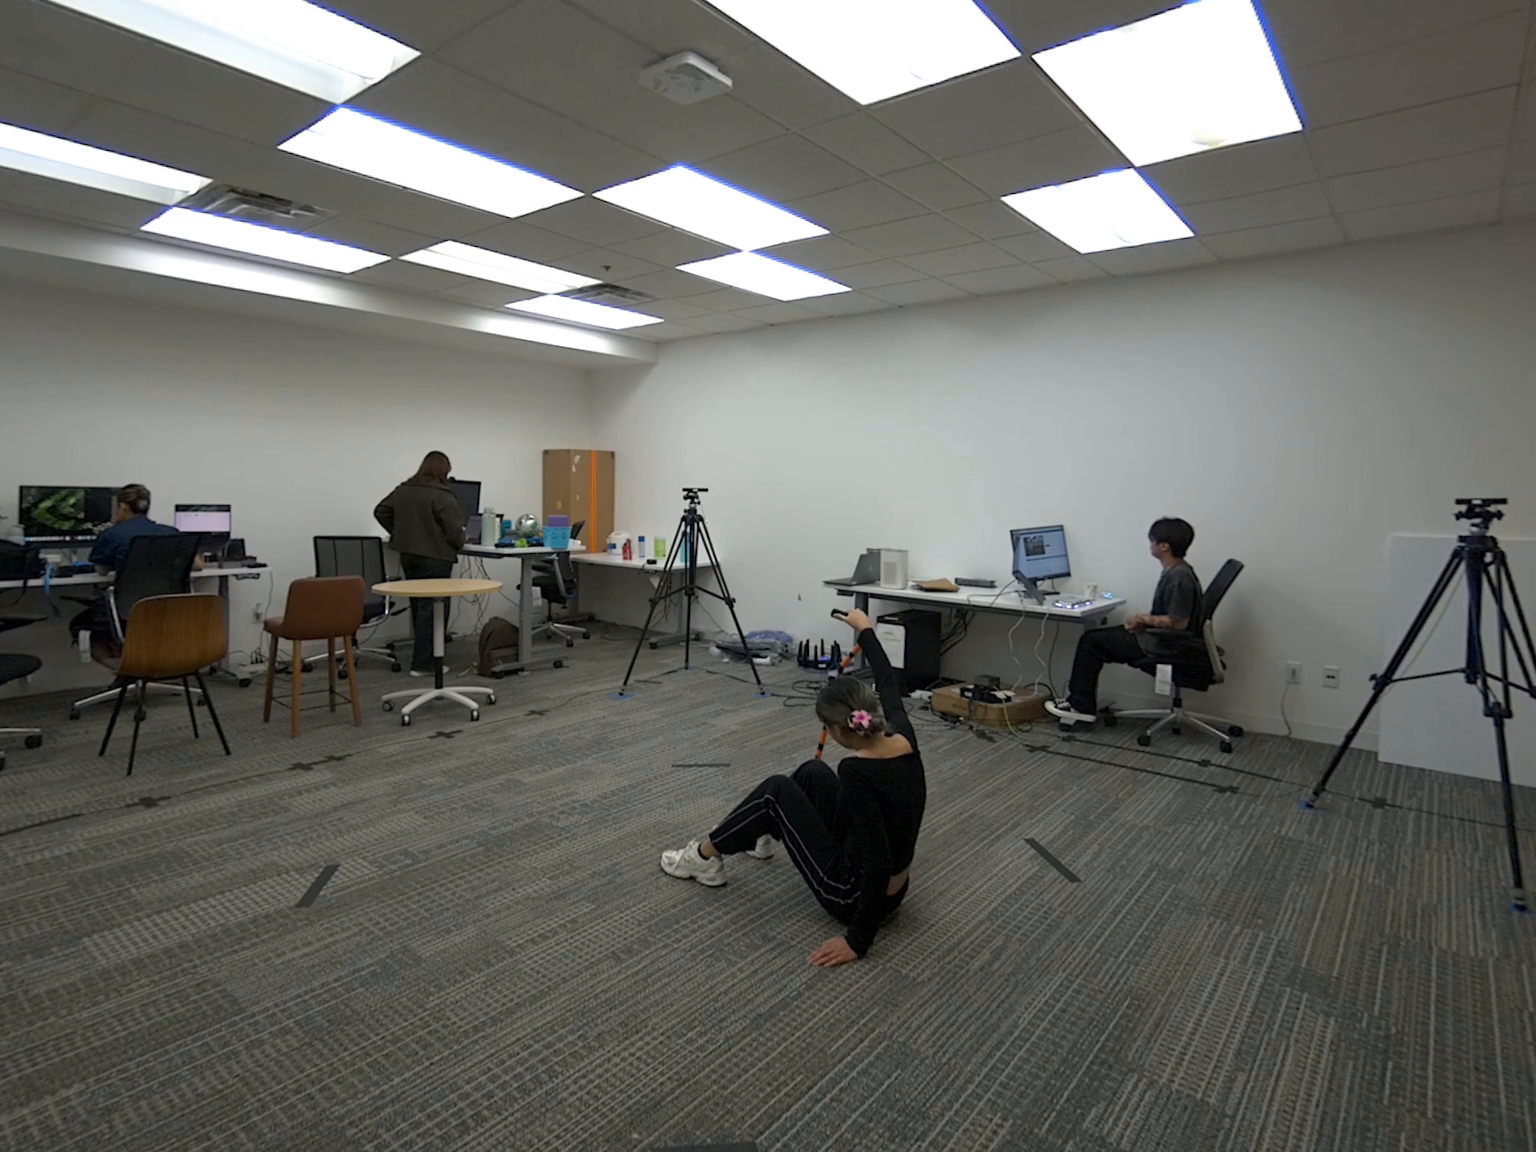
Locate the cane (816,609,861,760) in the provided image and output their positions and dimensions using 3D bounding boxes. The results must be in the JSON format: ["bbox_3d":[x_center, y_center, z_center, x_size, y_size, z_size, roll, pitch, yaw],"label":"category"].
[{"bbox_3d":[0.215,0.585,3.365,0.213,0.901,0.147,19,12,29],"label":"cane"}]
